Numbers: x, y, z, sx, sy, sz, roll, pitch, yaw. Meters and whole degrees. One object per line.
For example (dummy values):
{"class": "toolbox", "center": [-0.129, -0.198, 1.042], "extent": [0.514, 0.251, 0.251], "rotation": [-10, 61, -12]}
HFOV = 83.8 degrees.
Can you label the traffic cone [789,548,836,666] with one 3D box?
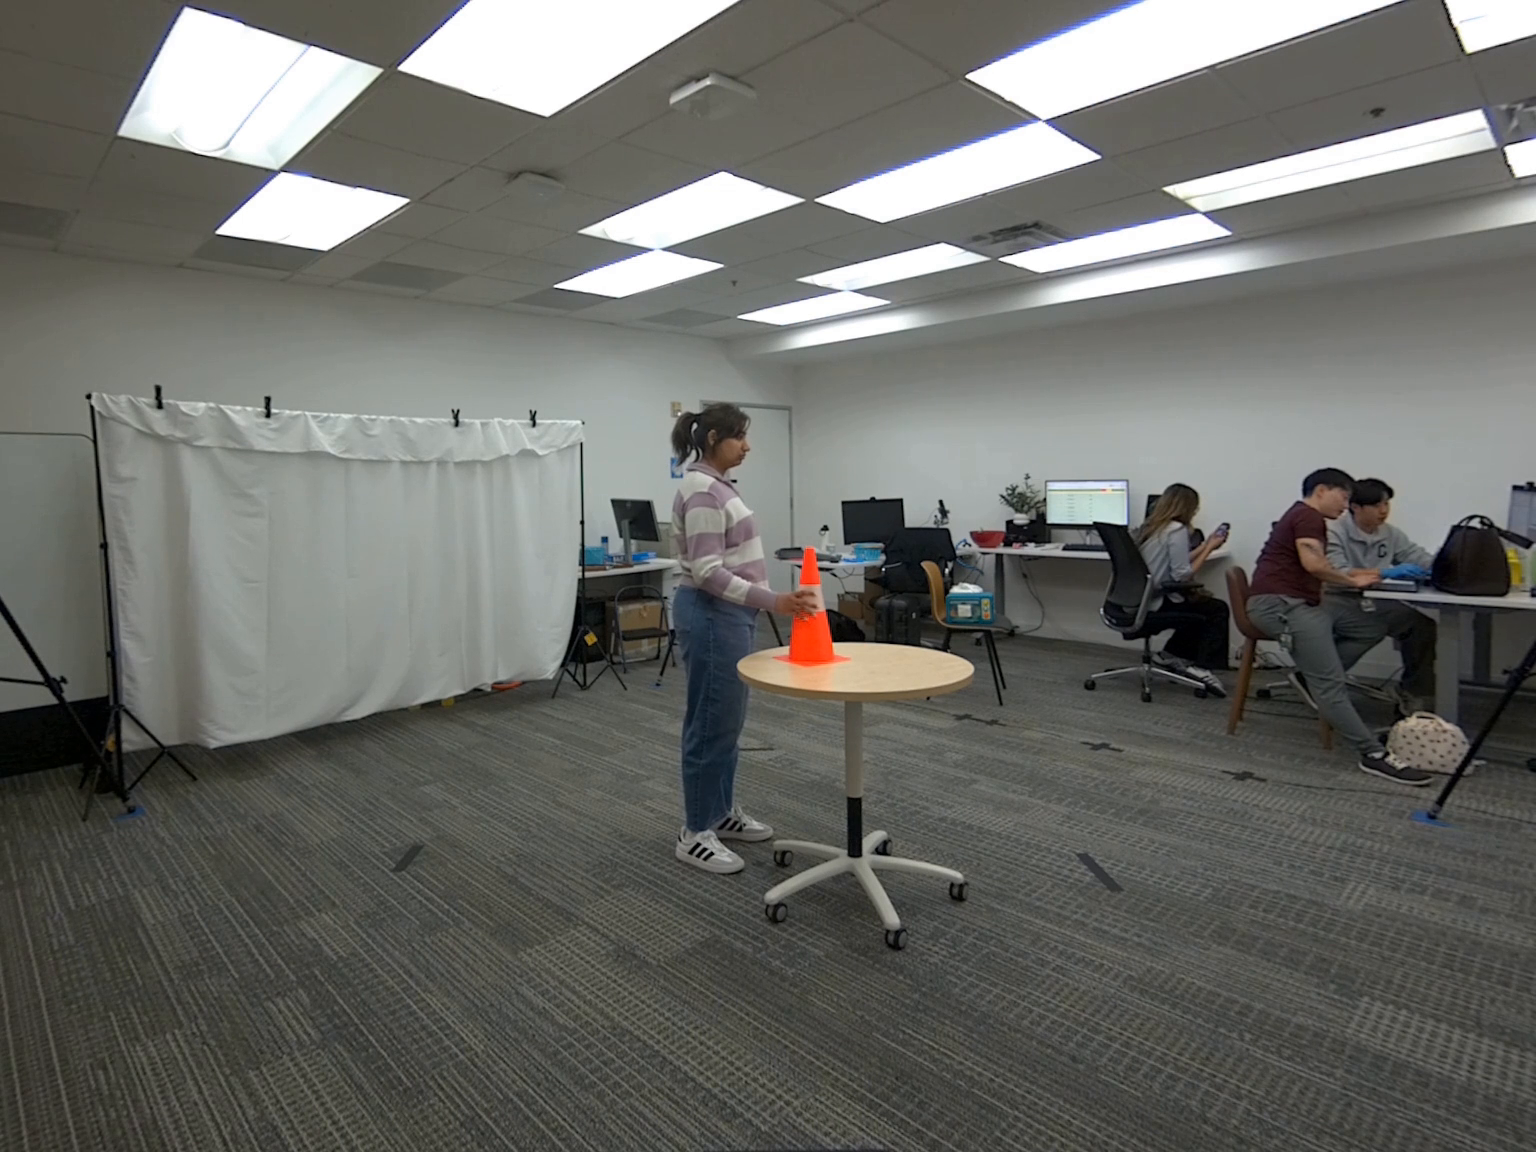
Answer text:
{"class": "traffic cone", "center": [0.144, 0.098, 2.900], "extent": [0.200, 0.382, 0.209], "rotation": [-6, 5, -41]}
